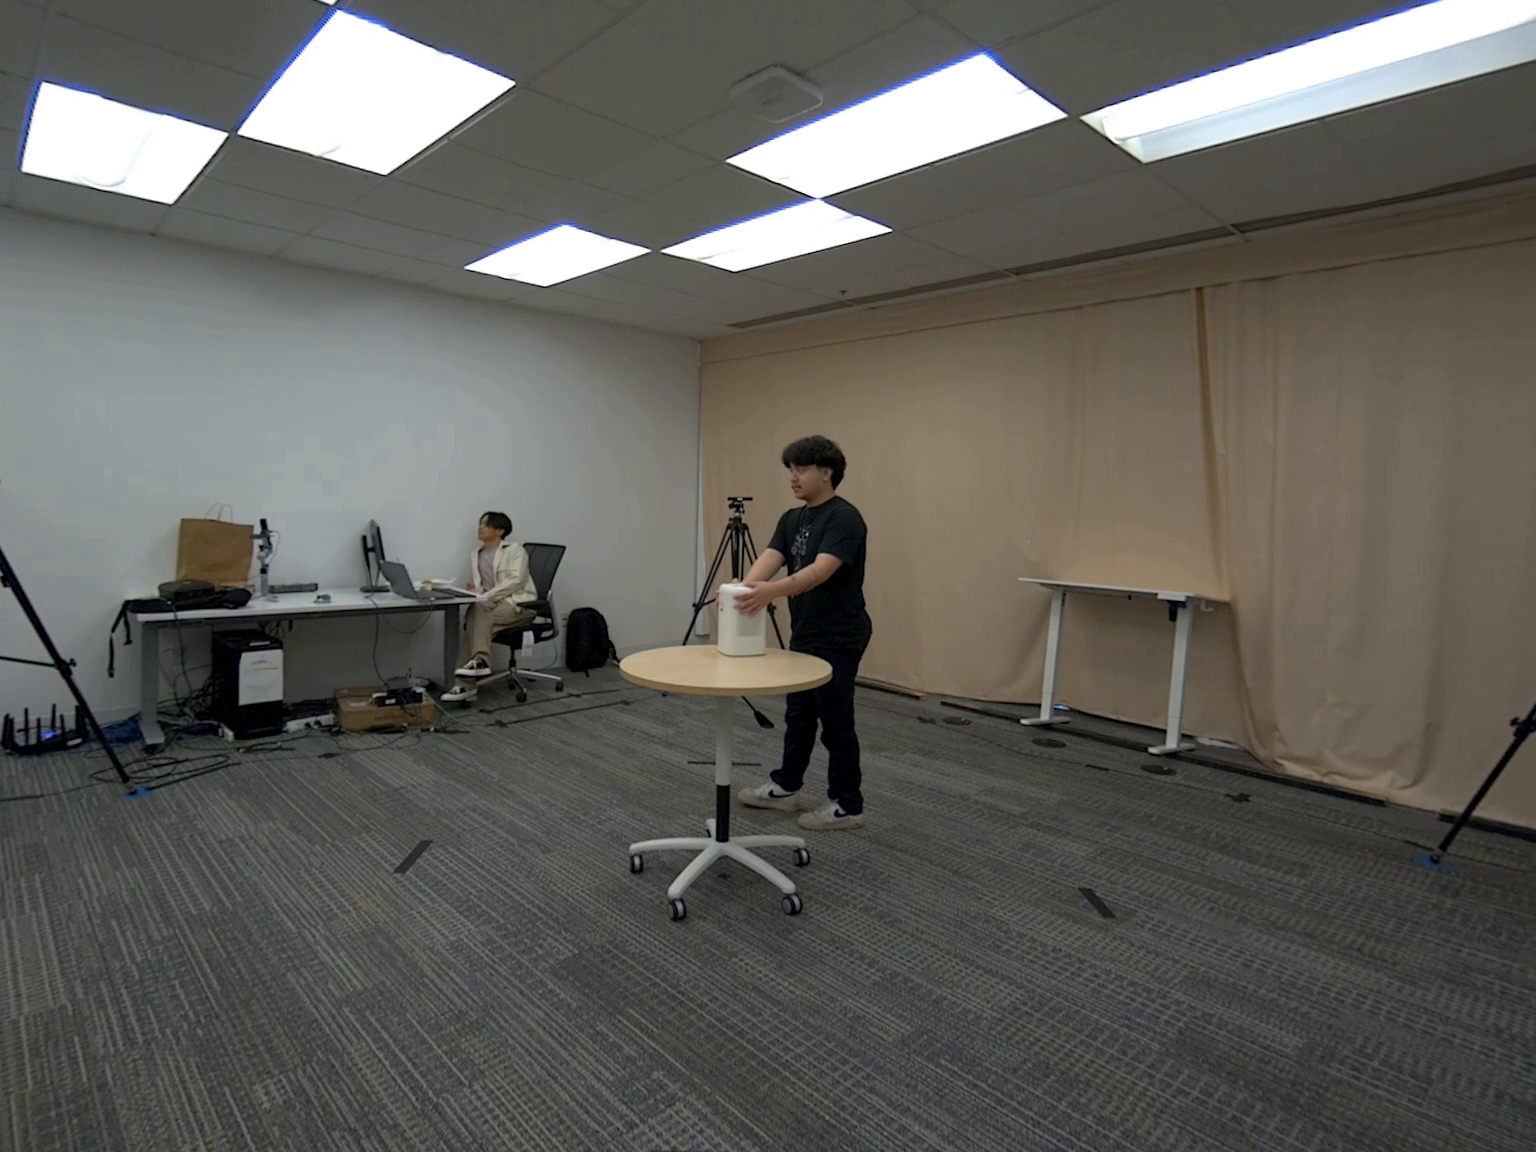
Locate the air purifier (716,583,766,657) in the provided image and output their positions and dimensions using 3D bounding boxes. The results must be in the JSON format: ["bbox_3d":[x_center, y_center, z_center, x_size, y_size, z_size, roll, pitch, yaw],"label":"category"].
[{"bbox_3d":[-0.108,0.169,3.272,0.169,0.265,0.174,1,3,-20],"label":"air purifier"}]
